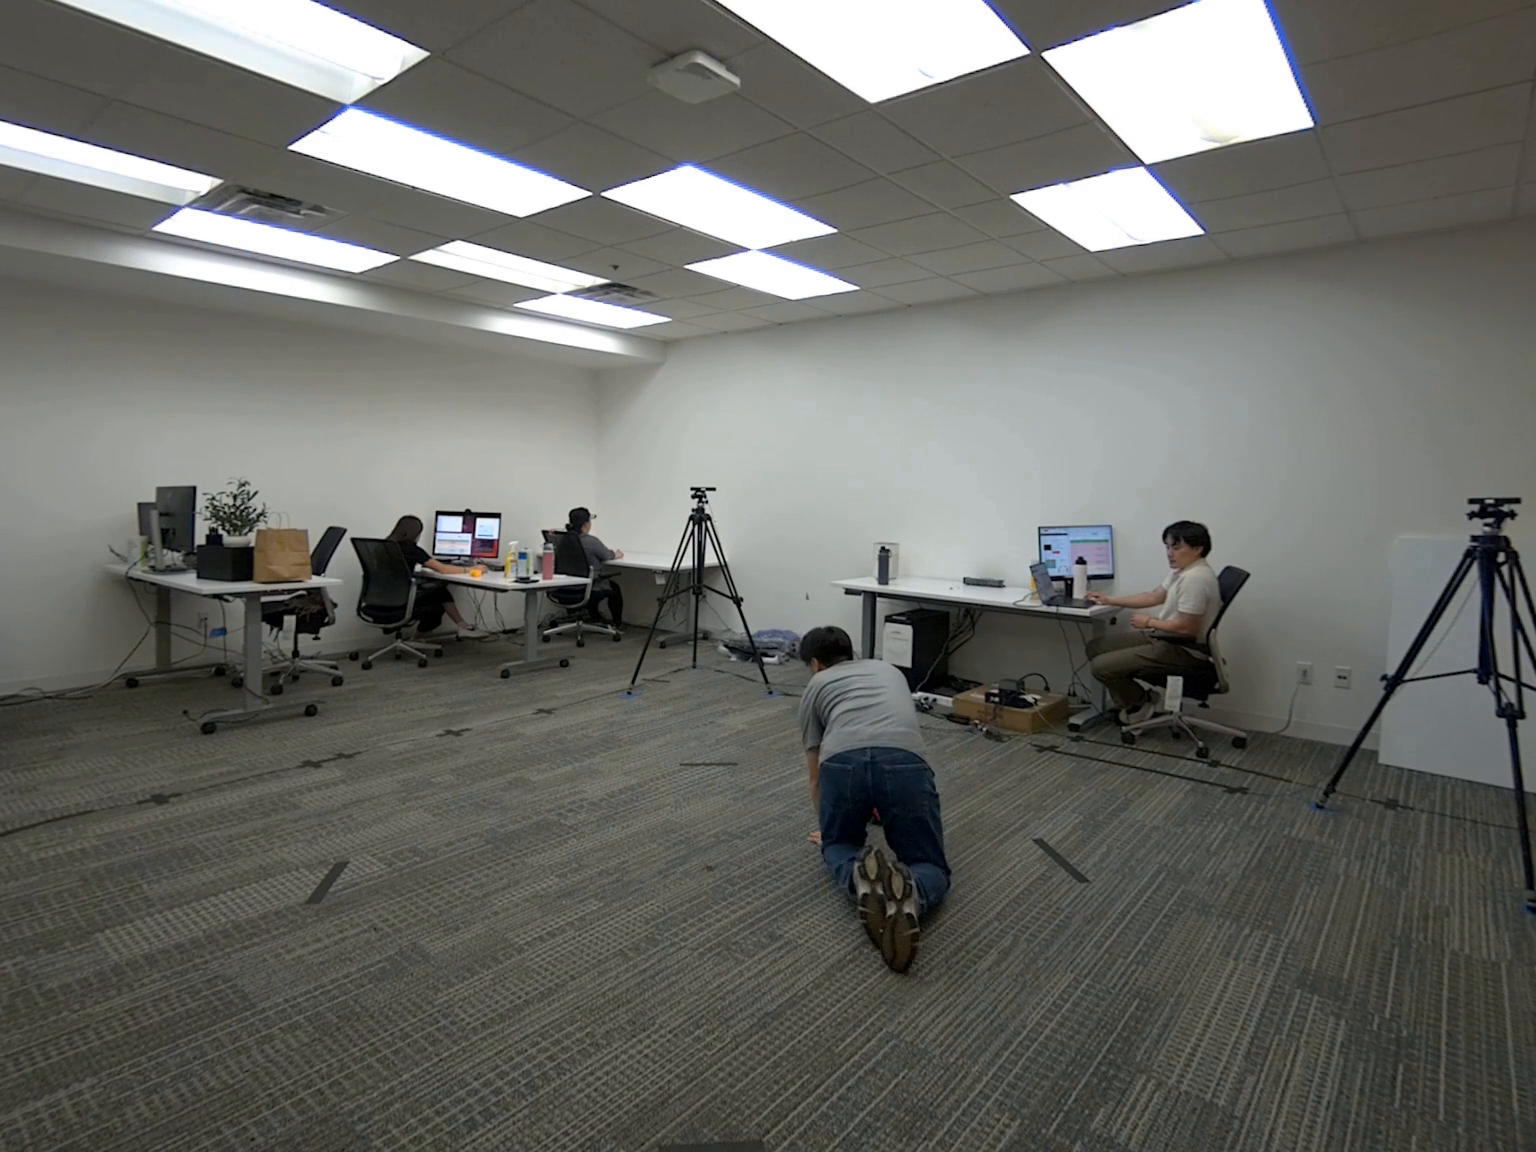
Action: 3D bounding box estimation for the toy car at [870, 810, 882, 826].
[{"bbox_3d":[0.453,0.997,3.620,0.126,0.083,0.261,-1,-4,-41],"label":"toy car"}]
